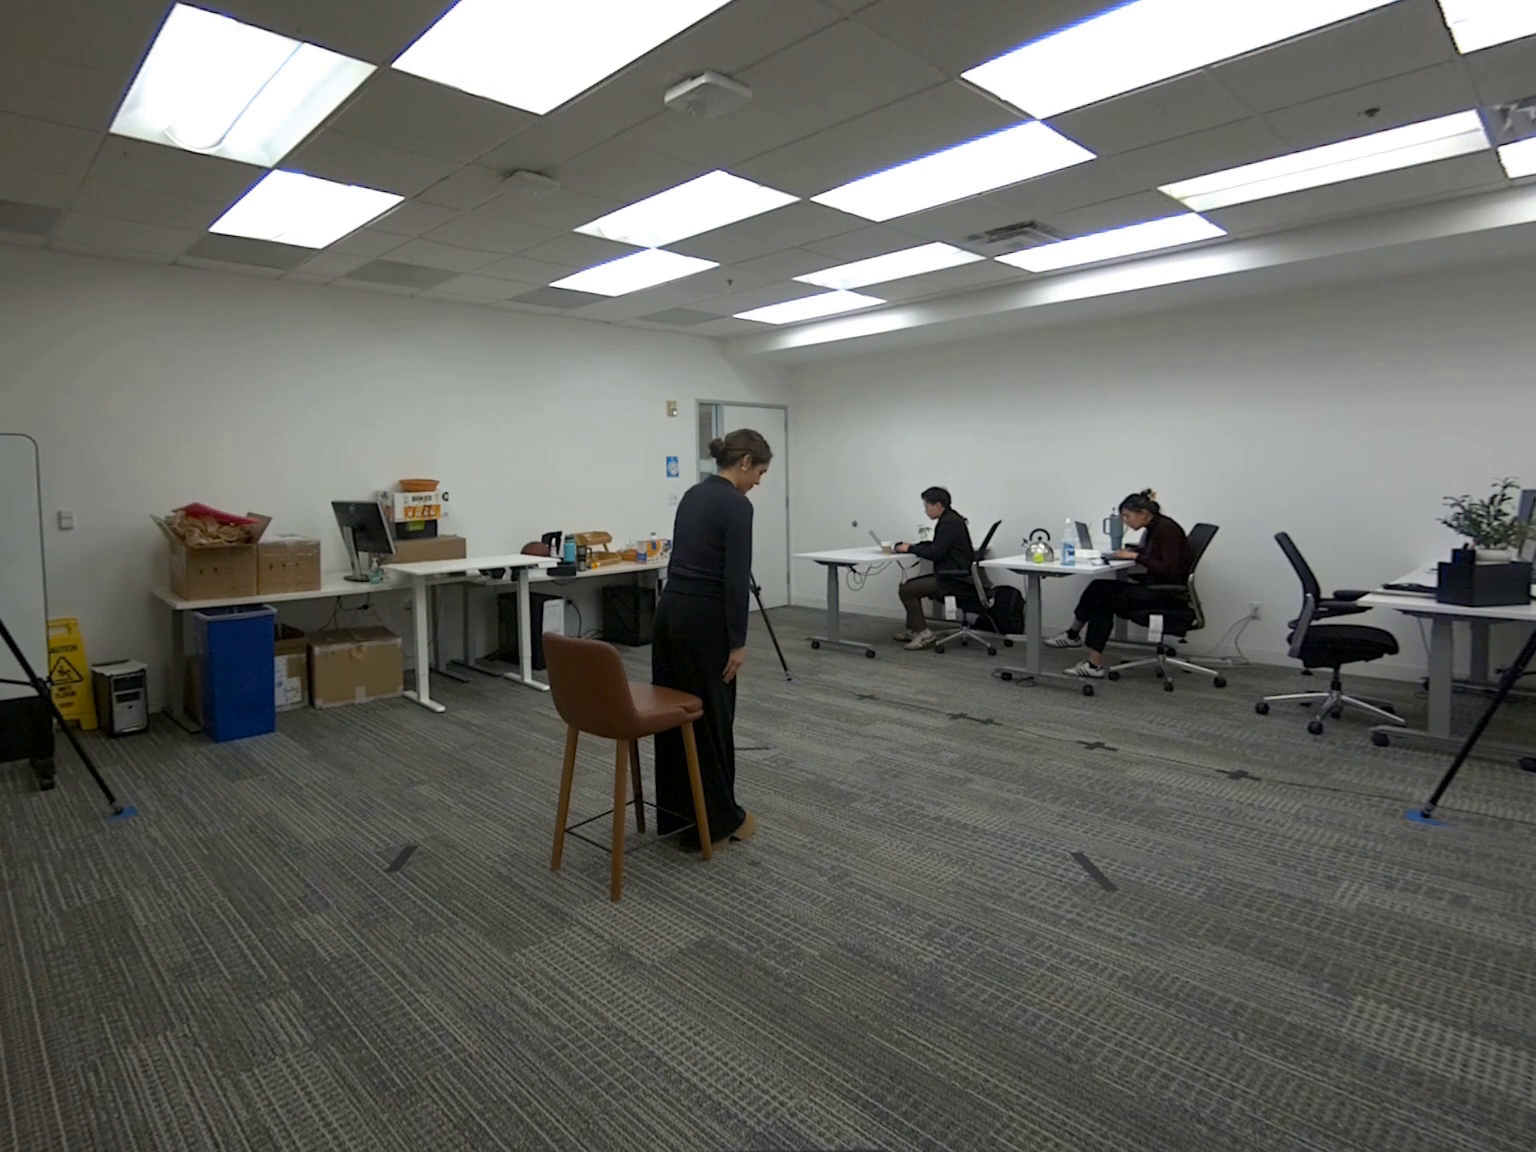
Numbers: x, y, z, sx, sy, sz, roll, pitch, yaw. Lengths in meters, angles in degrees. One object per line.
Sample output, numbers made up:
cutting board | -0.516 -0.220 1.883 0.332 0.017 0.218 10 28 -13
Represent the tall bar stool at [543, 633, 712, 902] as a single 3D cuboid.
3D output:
tall bar stool | -0.517 0.619 3.088 0.470 0.885 0.456 3 7 43
